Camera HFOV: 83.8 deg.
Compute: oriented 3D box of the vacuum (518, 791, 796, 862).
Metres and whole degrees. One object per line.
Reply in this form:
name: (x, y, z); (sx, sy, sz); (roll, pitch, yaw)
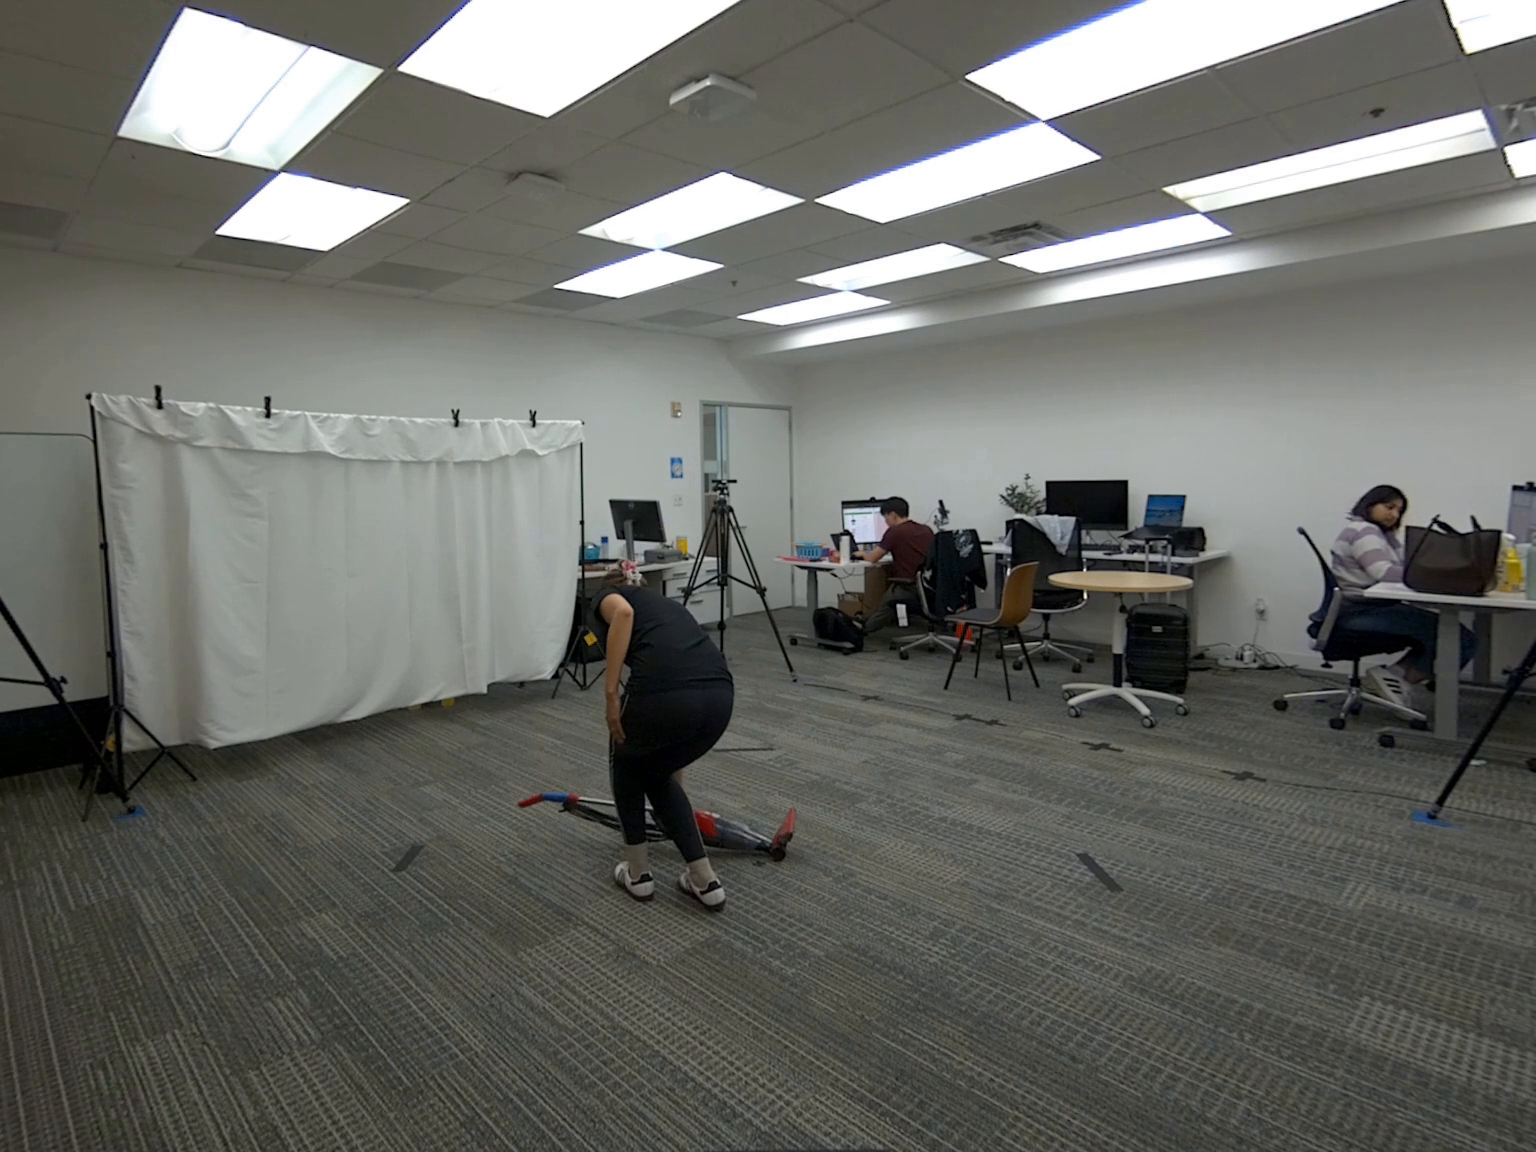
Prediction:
vacuum: (-0.447, 0.923, 3.241); (1.056, 0.144, 0.251); (4, 3, 6)
